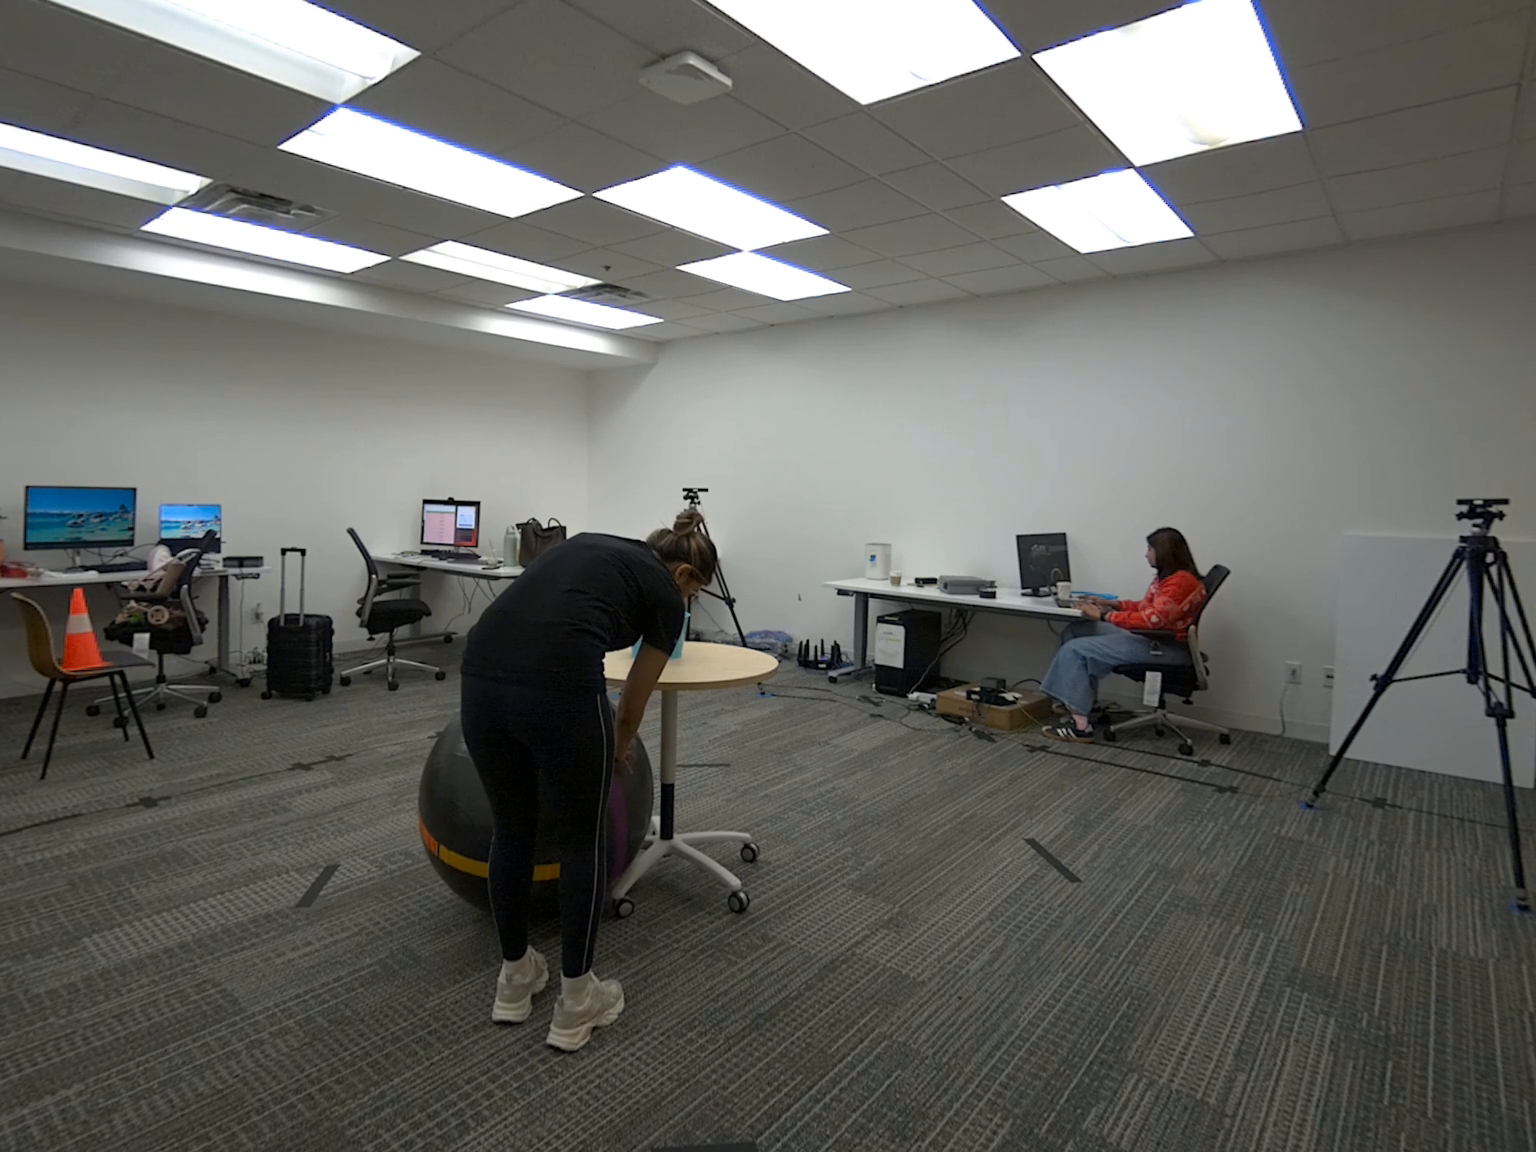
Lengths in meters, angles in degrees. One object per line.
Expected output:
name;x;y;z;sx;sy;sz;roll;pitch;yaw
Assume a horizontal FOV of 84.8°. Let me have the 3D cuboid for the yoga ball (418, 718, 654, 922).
yoga ball;-0.775;0.730;2.803;0.757;0.756;0.761;1;4;-2
